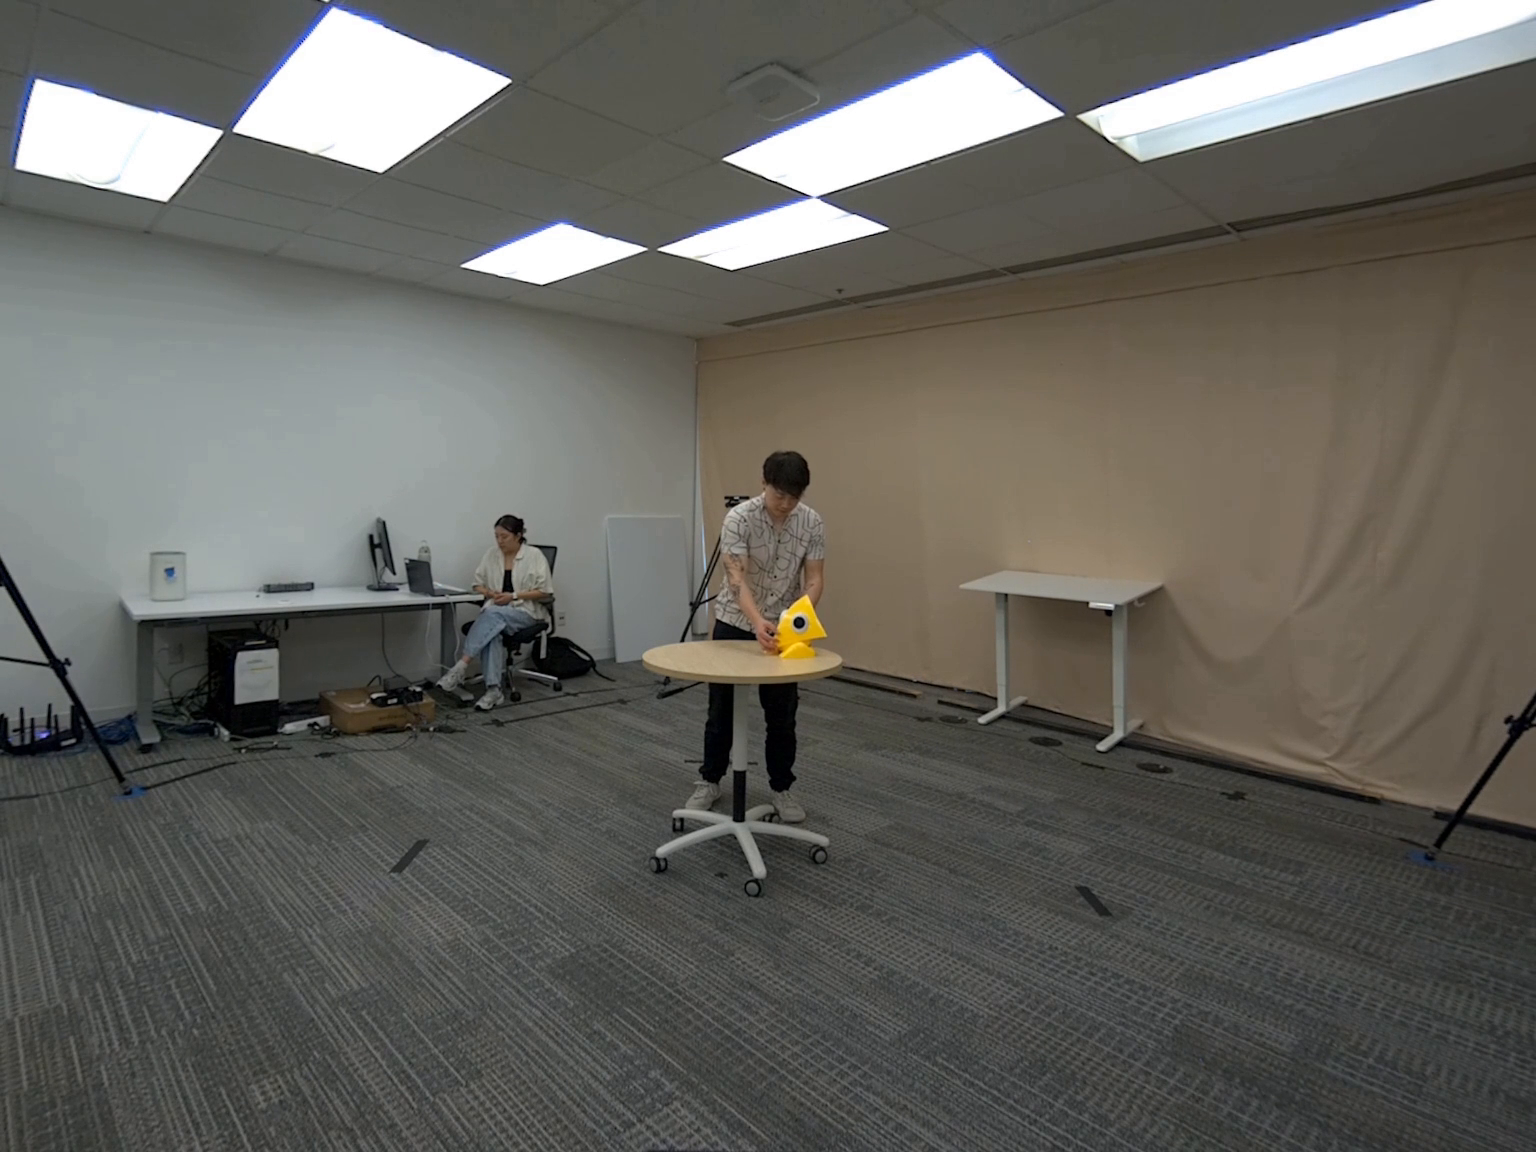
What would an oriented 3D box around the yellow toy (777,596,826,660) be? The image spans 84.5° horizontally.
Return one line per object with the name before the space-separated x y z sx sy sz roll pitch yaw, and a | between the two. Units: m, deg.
yellow toy | 0.088 0.193 3.307 0.189 0.230 0.209 -1 4 -28
